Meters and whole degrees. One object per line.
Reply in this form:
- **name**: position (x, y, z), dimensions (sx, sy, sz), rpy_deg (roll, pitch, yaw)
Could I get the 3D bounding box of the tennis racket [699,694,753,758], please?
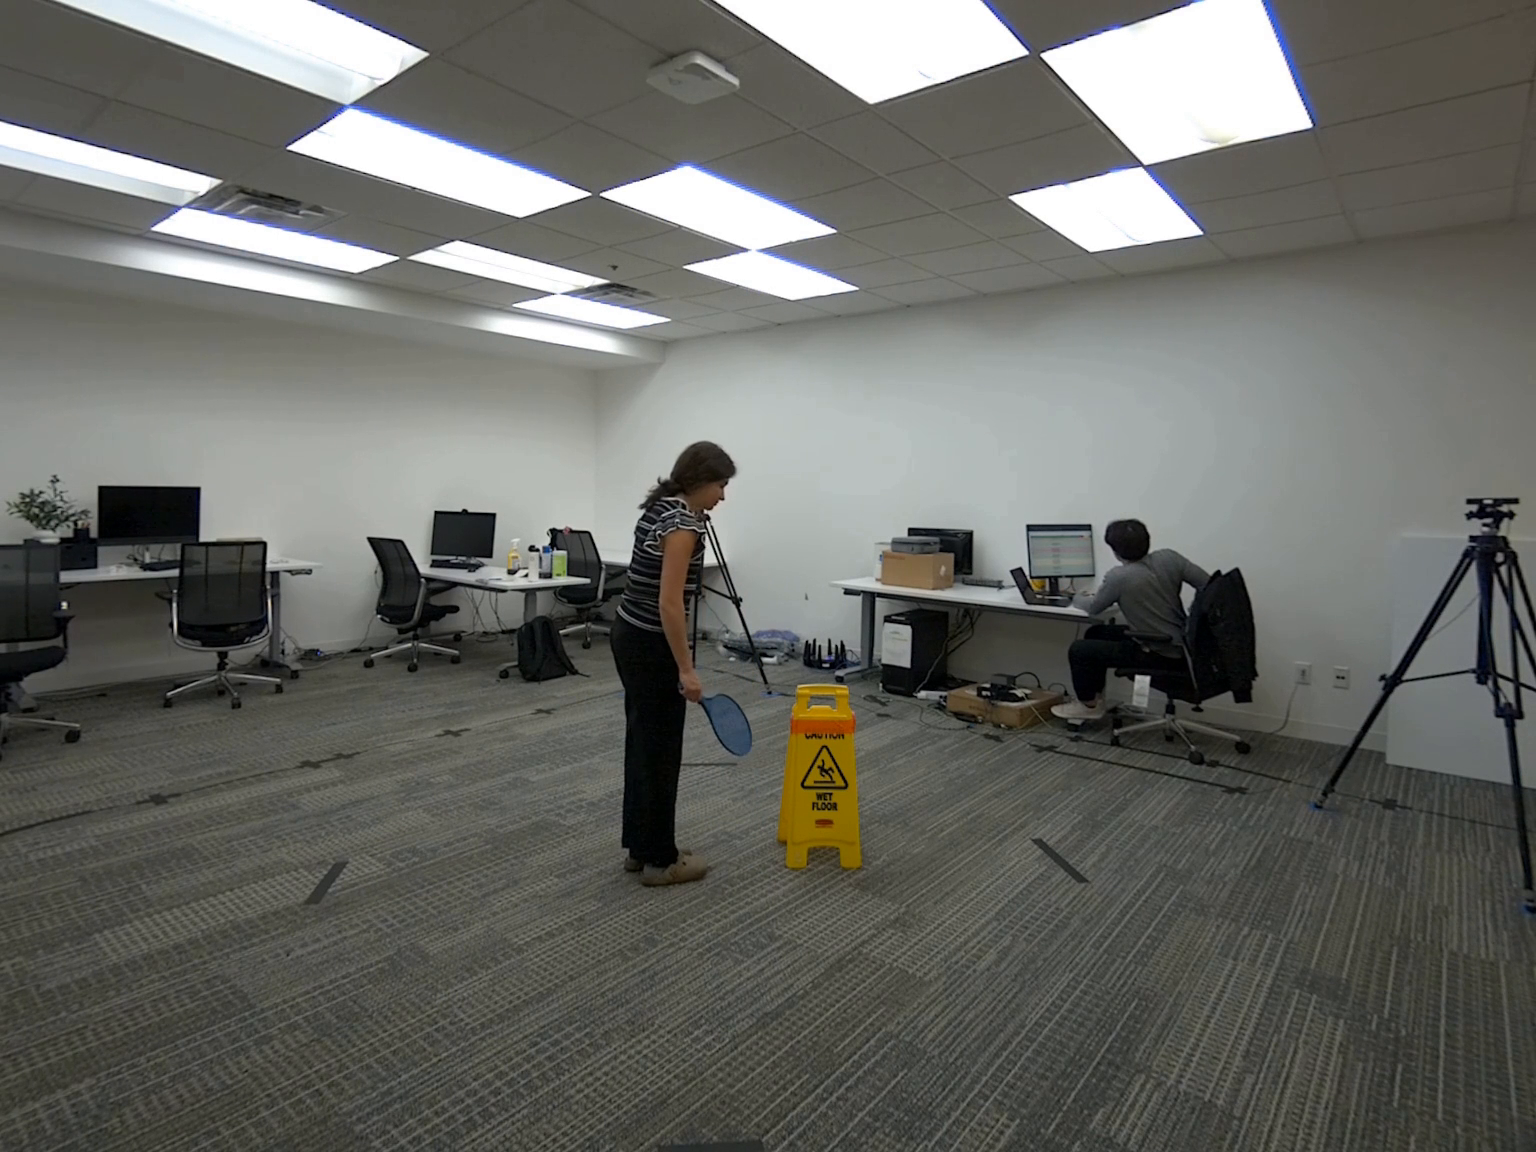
- **tennis racket**: position (-0.189, 0.490, 3.015), dimensions (0.032, 0.219, 0.415), rpy_deg (-23, -48, 25)
